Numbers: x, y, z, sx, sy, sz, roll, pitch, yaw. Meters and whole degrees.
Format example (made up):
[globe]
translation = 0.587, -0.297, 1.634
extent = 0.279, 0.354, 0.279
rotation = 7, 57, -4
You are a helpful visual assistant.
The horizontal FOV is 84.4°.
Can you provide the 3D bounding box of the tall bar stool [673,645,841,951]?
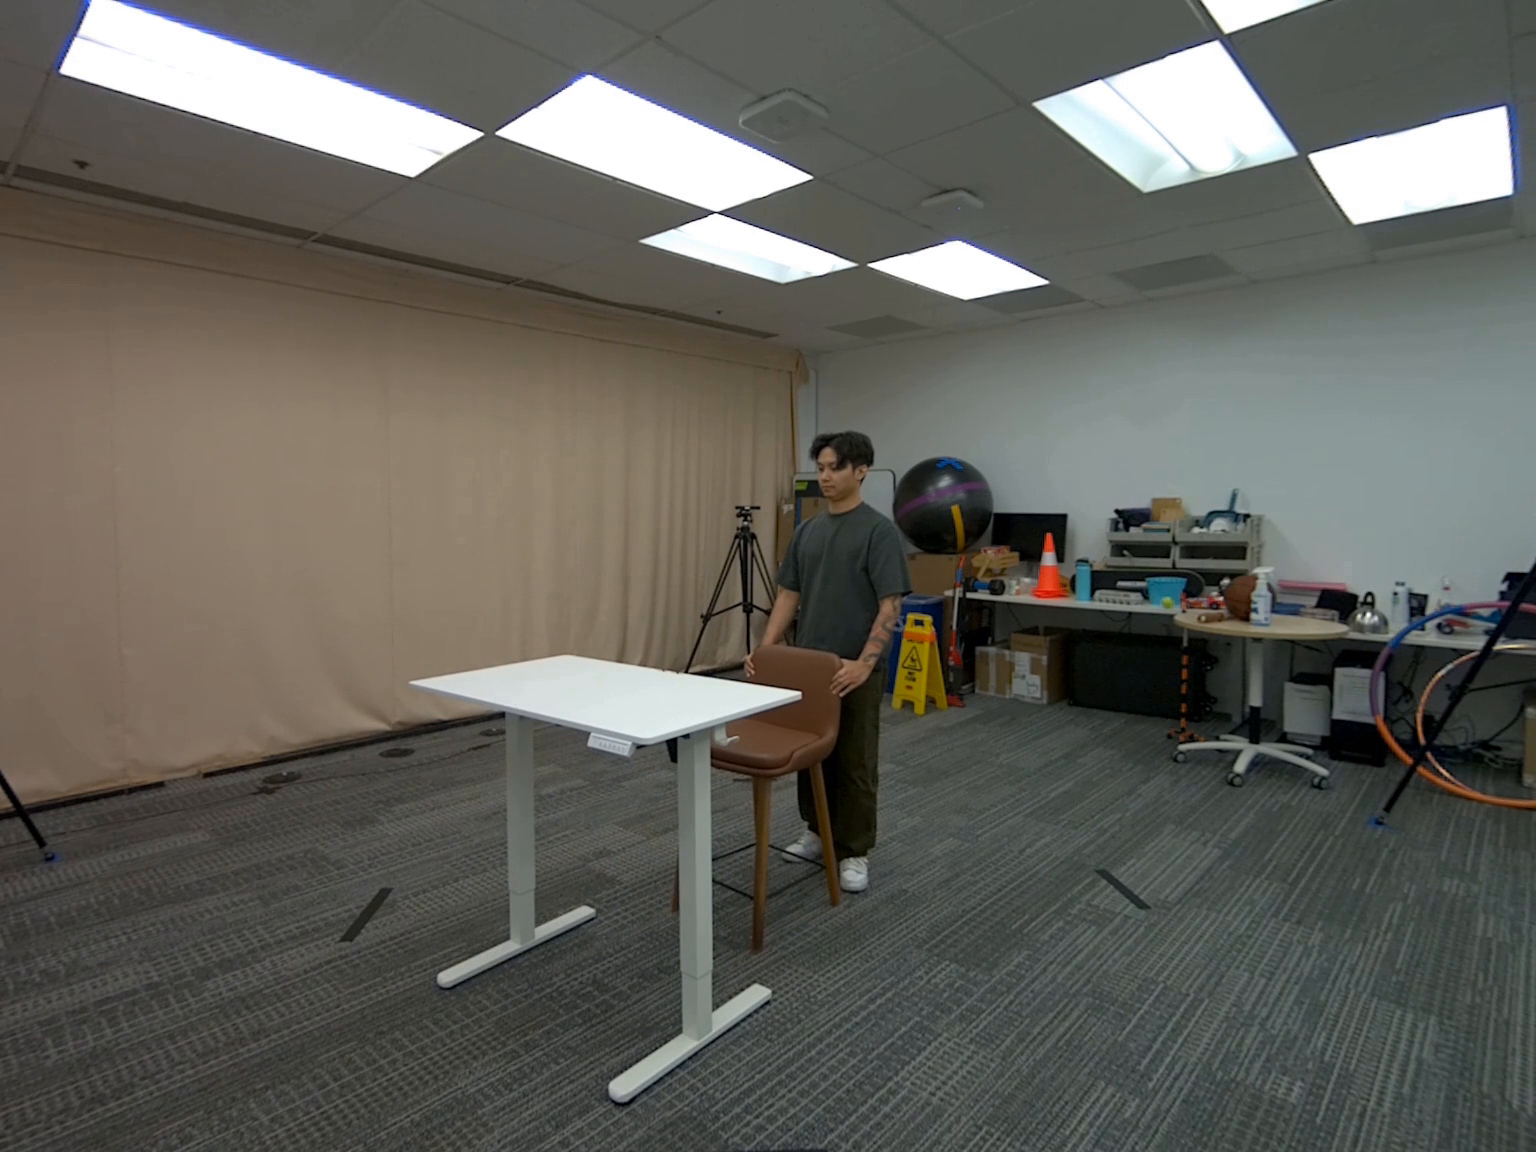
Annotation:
[tall bar stool]
translation = -0.024, 0.712, 2.900
extent = 0.472, 0.888, 0.453
rotation = 4, 3, 45
